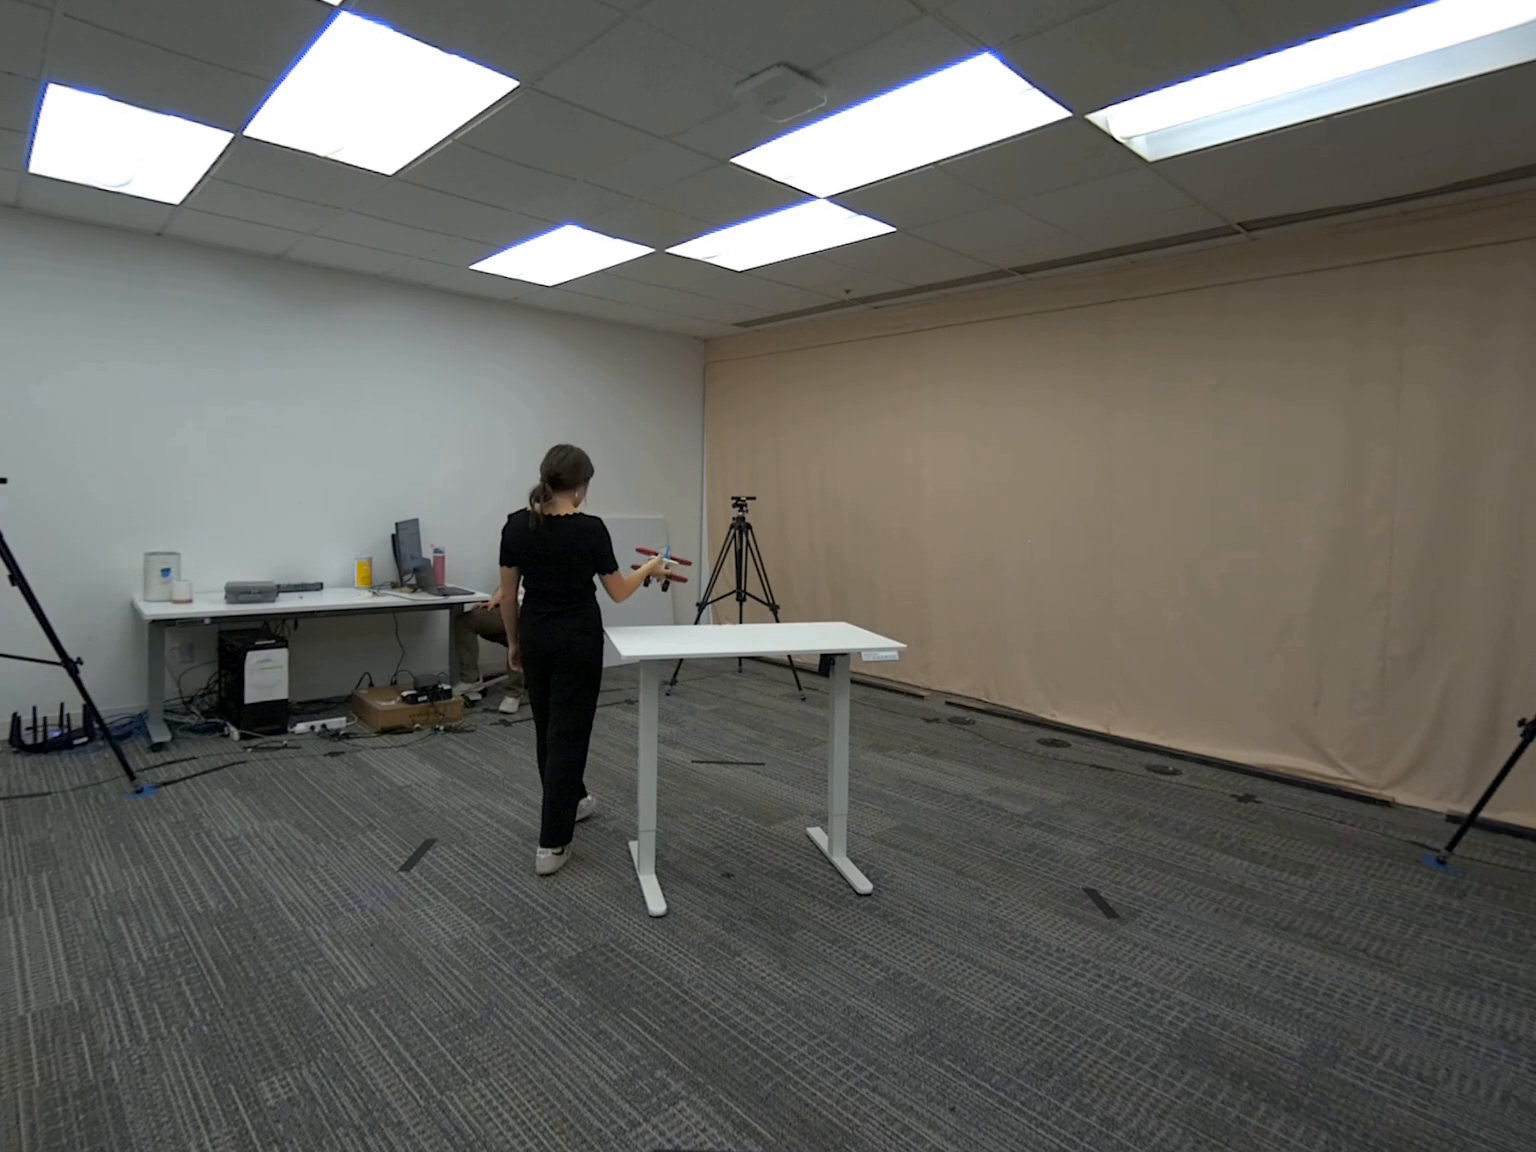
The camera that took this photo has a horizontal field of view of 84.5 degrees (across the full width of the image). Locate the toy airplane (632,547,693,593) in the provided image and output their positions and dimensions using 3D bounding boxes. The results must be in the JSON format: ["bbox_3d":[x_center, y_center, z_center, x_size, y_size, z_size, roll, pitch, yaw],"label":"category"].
[{"bbox_3d":[-0.449,-0.047,3.641,0.244,0.158,0.263,29,-30,-32],"label":"toy airplane"}]
